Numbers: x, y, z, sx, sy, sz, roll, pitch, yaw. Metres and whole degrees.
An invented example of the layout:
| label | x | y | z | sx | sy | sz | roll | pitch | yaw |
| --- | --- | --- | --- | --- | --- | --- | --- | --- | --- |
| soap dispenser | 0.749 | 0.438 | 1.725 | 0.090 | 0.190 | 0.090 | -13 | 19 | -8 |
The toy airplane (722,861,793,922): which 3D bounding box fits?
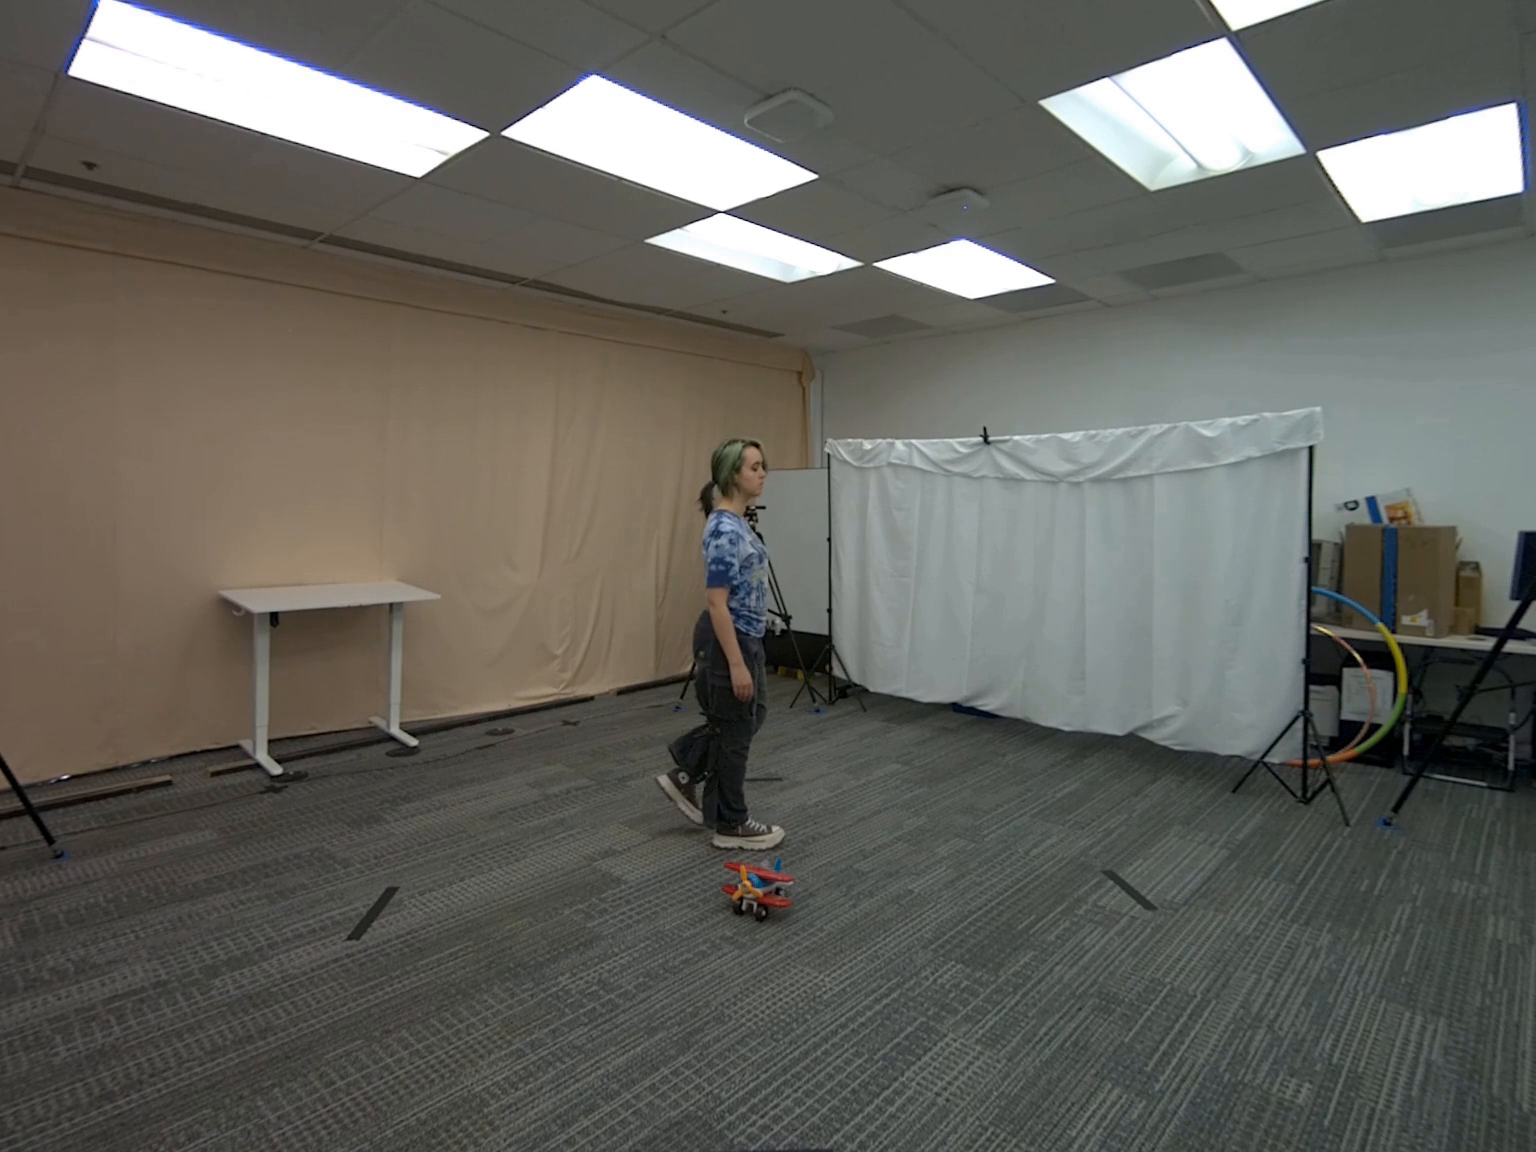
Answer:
| label | x | y | z | sx | sy | sz | roll | pitch | yaw |
| --- | --- | --- | --- | --- | --- | --- | --- | --- | --- |
| toy airplane | -0.033 | 1.071 | 2.925 | 0.252 | 0.156 | 0.259 | 1 | 6 | 2 |
